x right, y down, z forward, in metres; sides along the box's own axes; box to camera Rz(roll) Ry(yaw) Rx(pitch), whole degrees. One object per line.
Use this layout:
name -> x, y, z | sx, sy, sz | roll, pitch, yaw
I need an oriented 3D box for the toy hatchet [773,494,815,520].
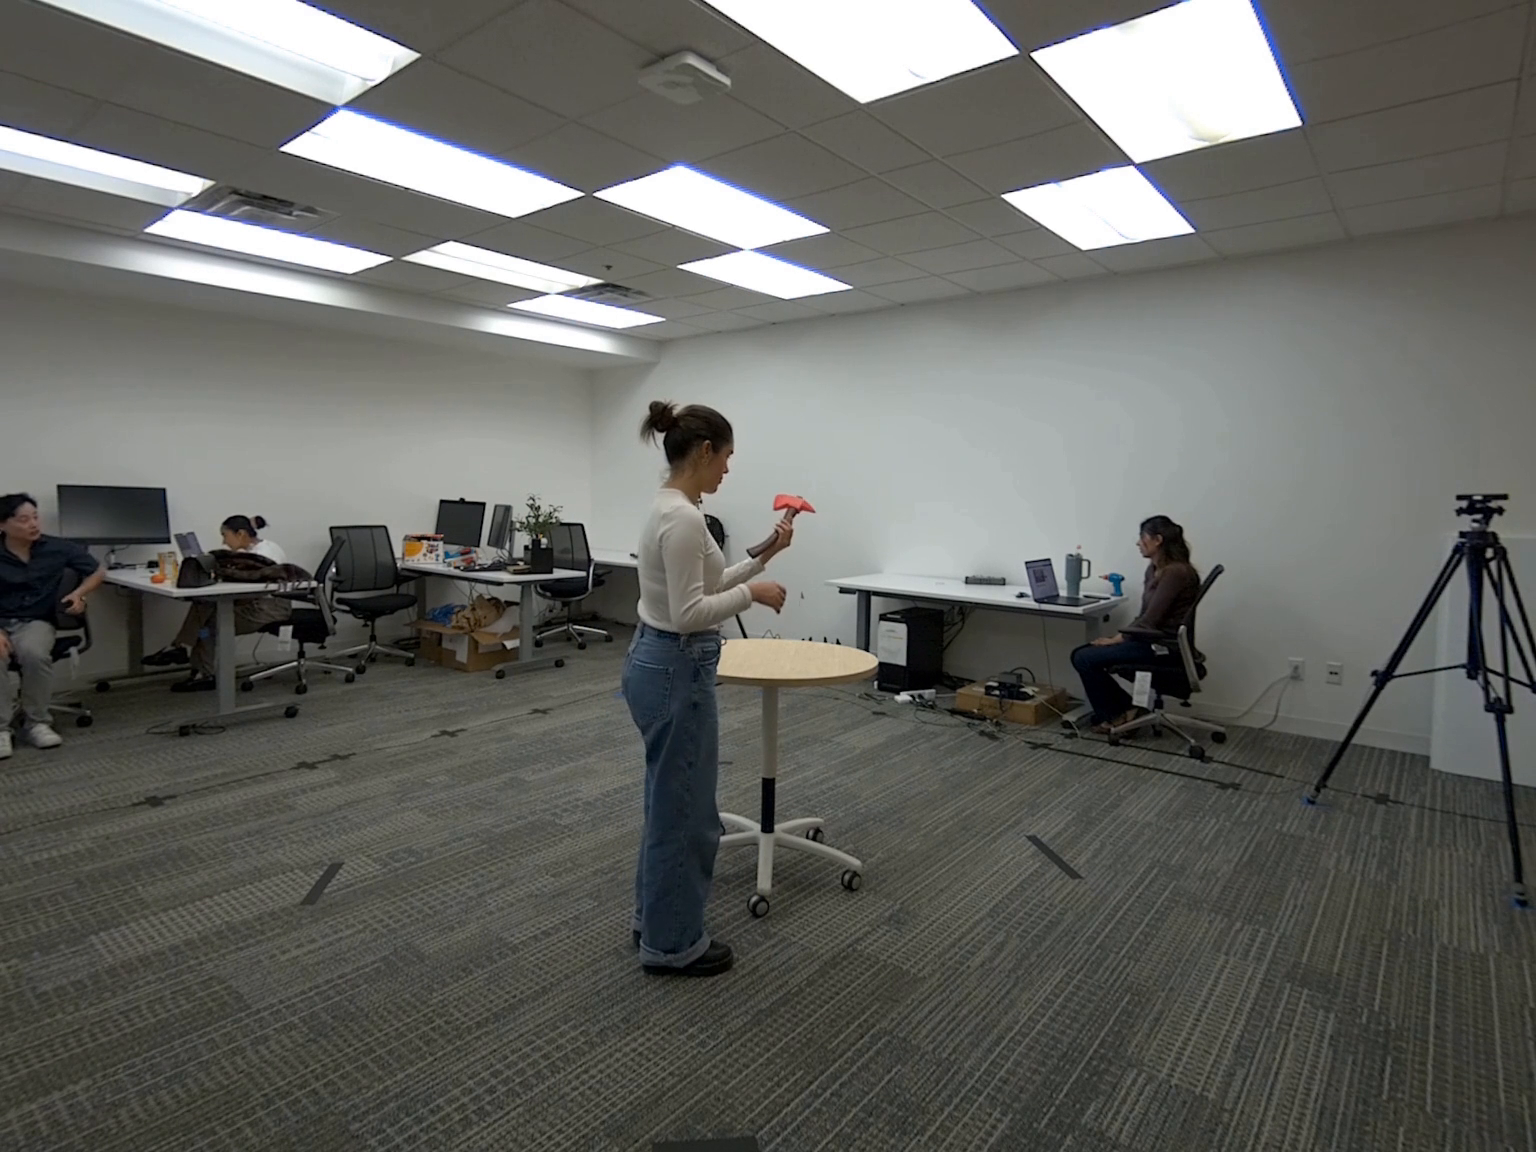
toy hatchet -> 0.001, -0.167, 2.601 | 0.268, 0.135, 0.029 | -37, -26, -21
